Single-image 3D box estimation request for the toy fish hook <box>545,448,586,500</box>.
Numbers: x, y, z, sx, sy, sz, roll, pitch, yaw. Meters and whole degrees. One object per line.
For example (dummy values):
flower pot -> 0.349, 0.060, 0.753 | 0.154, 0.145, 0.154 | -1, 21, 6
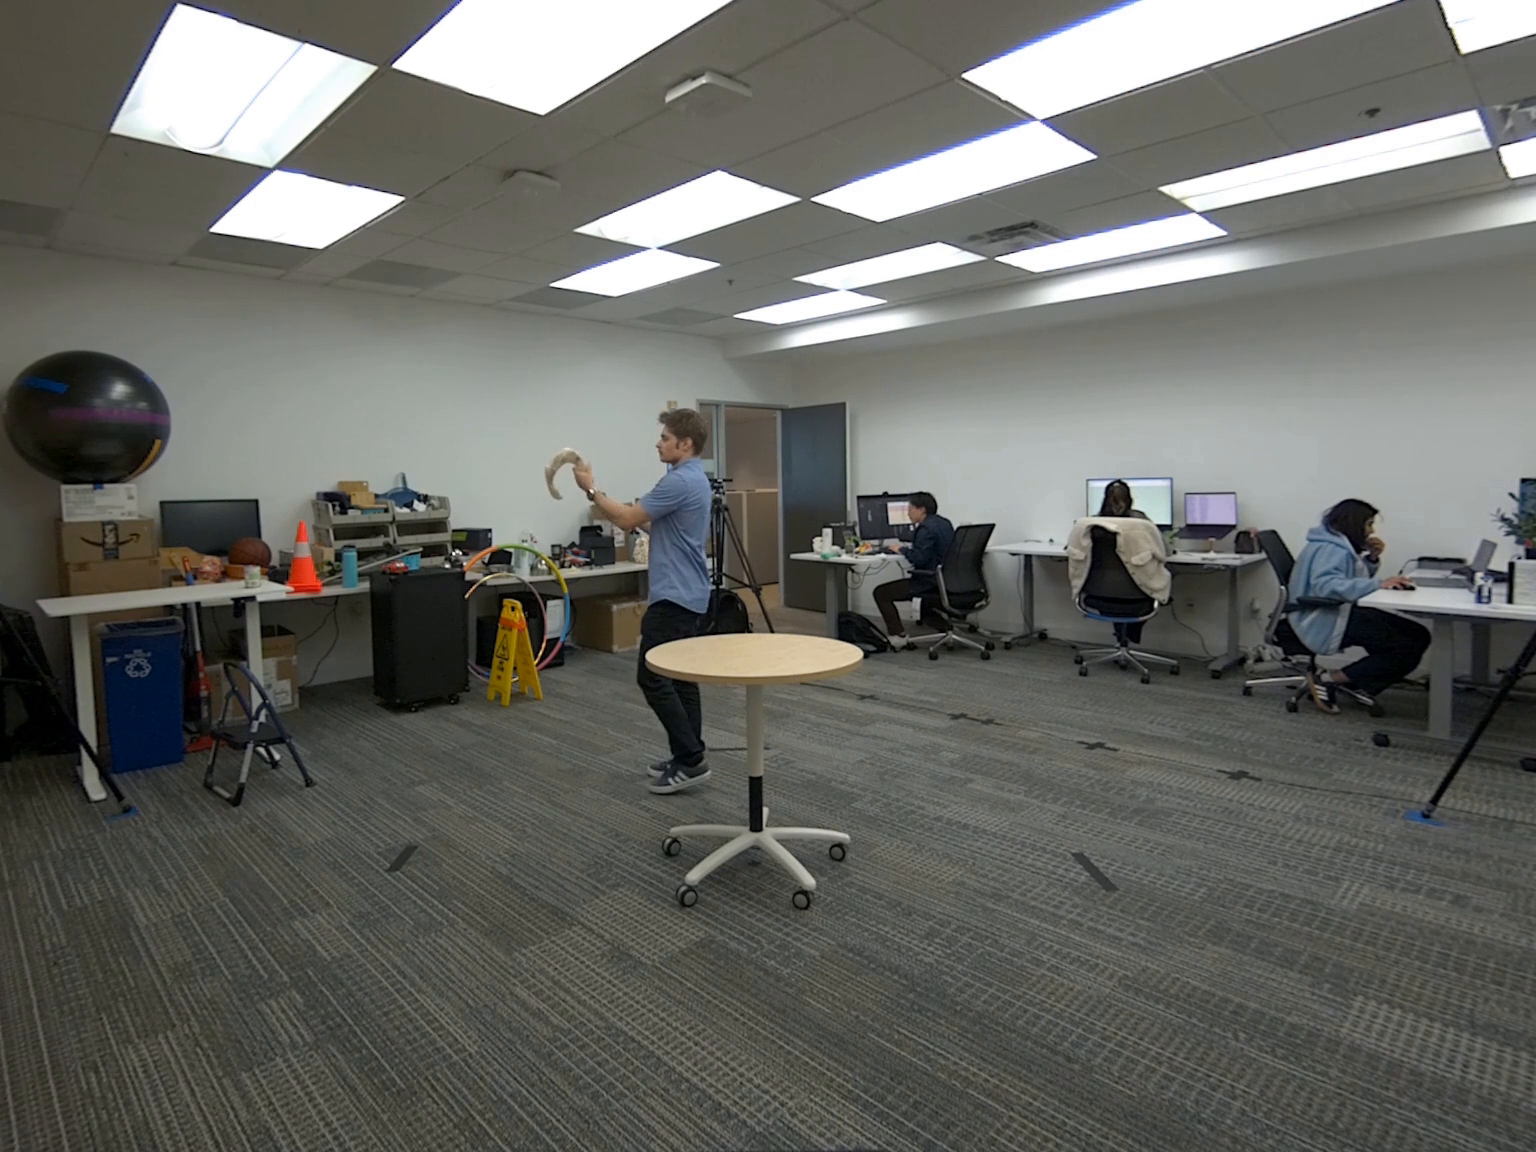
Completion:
toy fish hook -> -0.877, -0.391, 3.958 | 0.050, 0.225, 0.488 | 26, -18, 33
